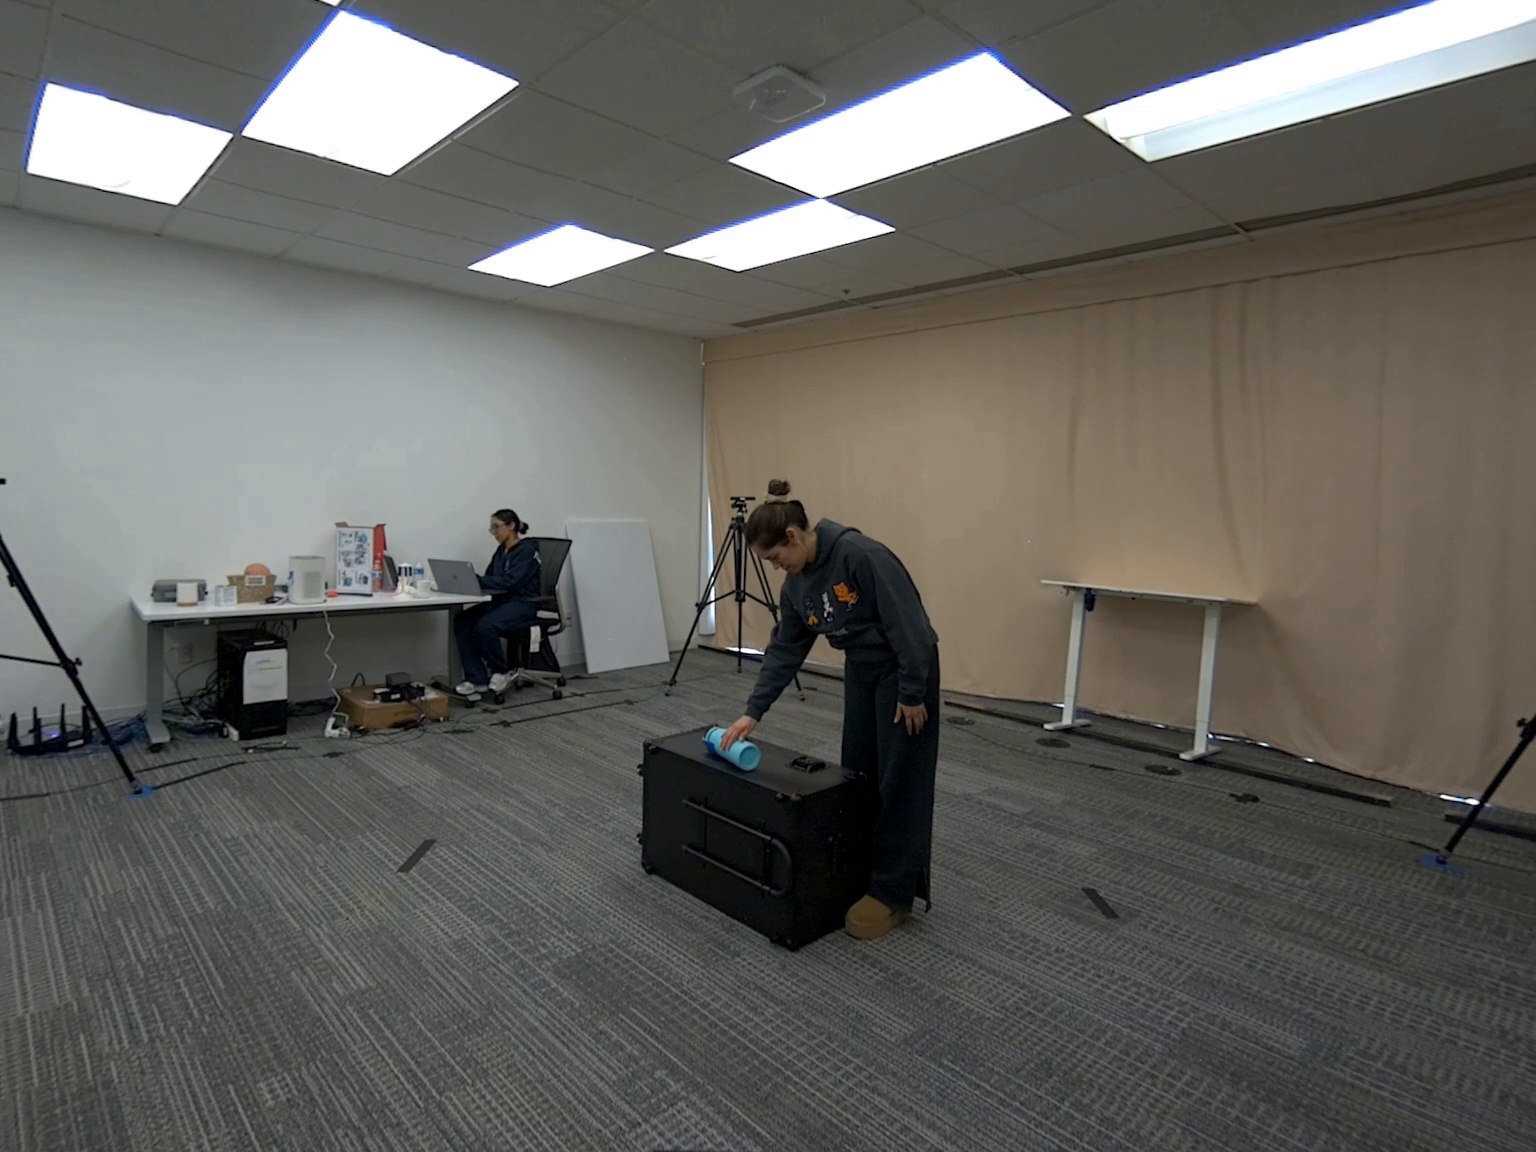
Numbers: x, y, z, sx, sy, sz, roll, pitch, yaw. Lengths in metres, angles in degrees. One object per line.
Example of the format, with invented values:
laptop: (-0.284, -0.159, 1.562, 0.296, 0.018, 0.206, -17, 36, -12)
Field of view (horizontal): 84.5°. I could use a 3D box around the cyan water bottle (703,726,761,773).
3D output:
cyan water bottle: (-0.129, 0.588, 2.946, 0.090, 0.092, 0.290, -2, 6, -31)
